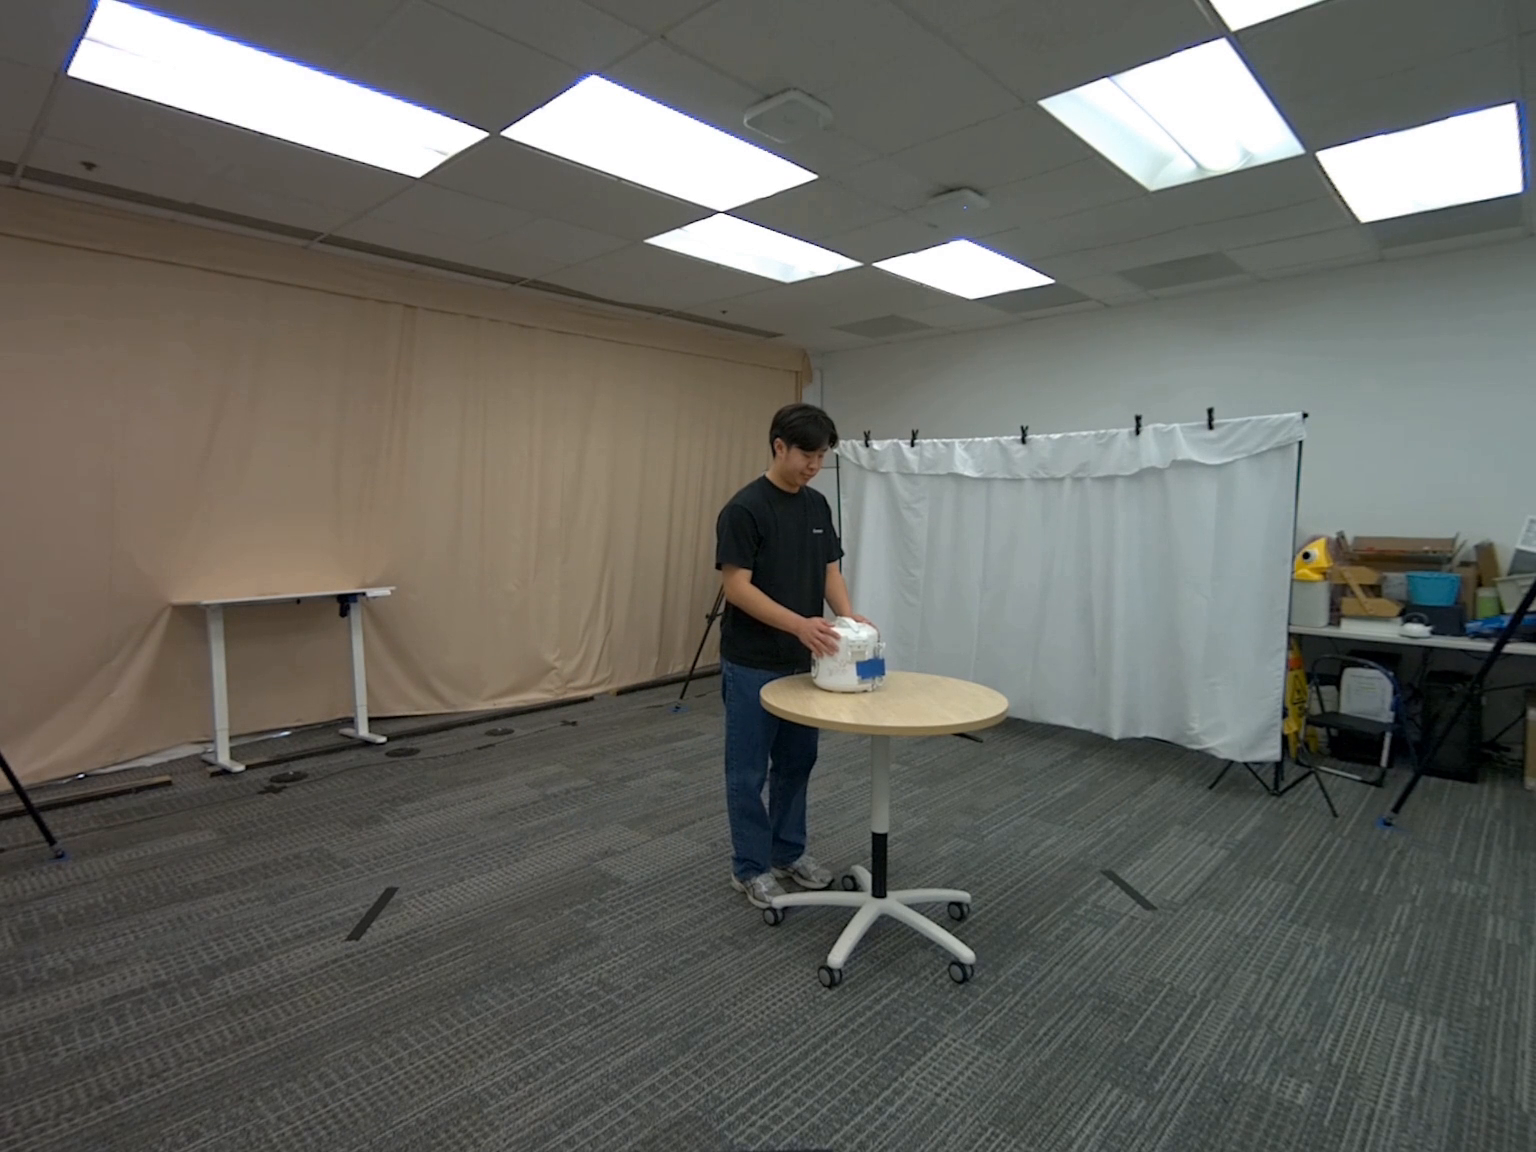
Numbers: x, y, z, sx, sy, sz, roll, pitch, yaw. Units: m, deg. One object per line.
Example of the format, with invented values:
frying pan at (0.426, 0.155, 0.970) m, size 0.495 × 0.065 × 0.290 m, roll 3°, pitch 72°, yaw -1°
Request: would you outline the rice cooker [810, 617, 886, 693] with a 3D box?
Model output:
rice cooker at (0.255, 0.250, 2.750) m, size 0.214 × 0.232 × 0.224 m, roll -1°, pitch 3°, yaw -15°
